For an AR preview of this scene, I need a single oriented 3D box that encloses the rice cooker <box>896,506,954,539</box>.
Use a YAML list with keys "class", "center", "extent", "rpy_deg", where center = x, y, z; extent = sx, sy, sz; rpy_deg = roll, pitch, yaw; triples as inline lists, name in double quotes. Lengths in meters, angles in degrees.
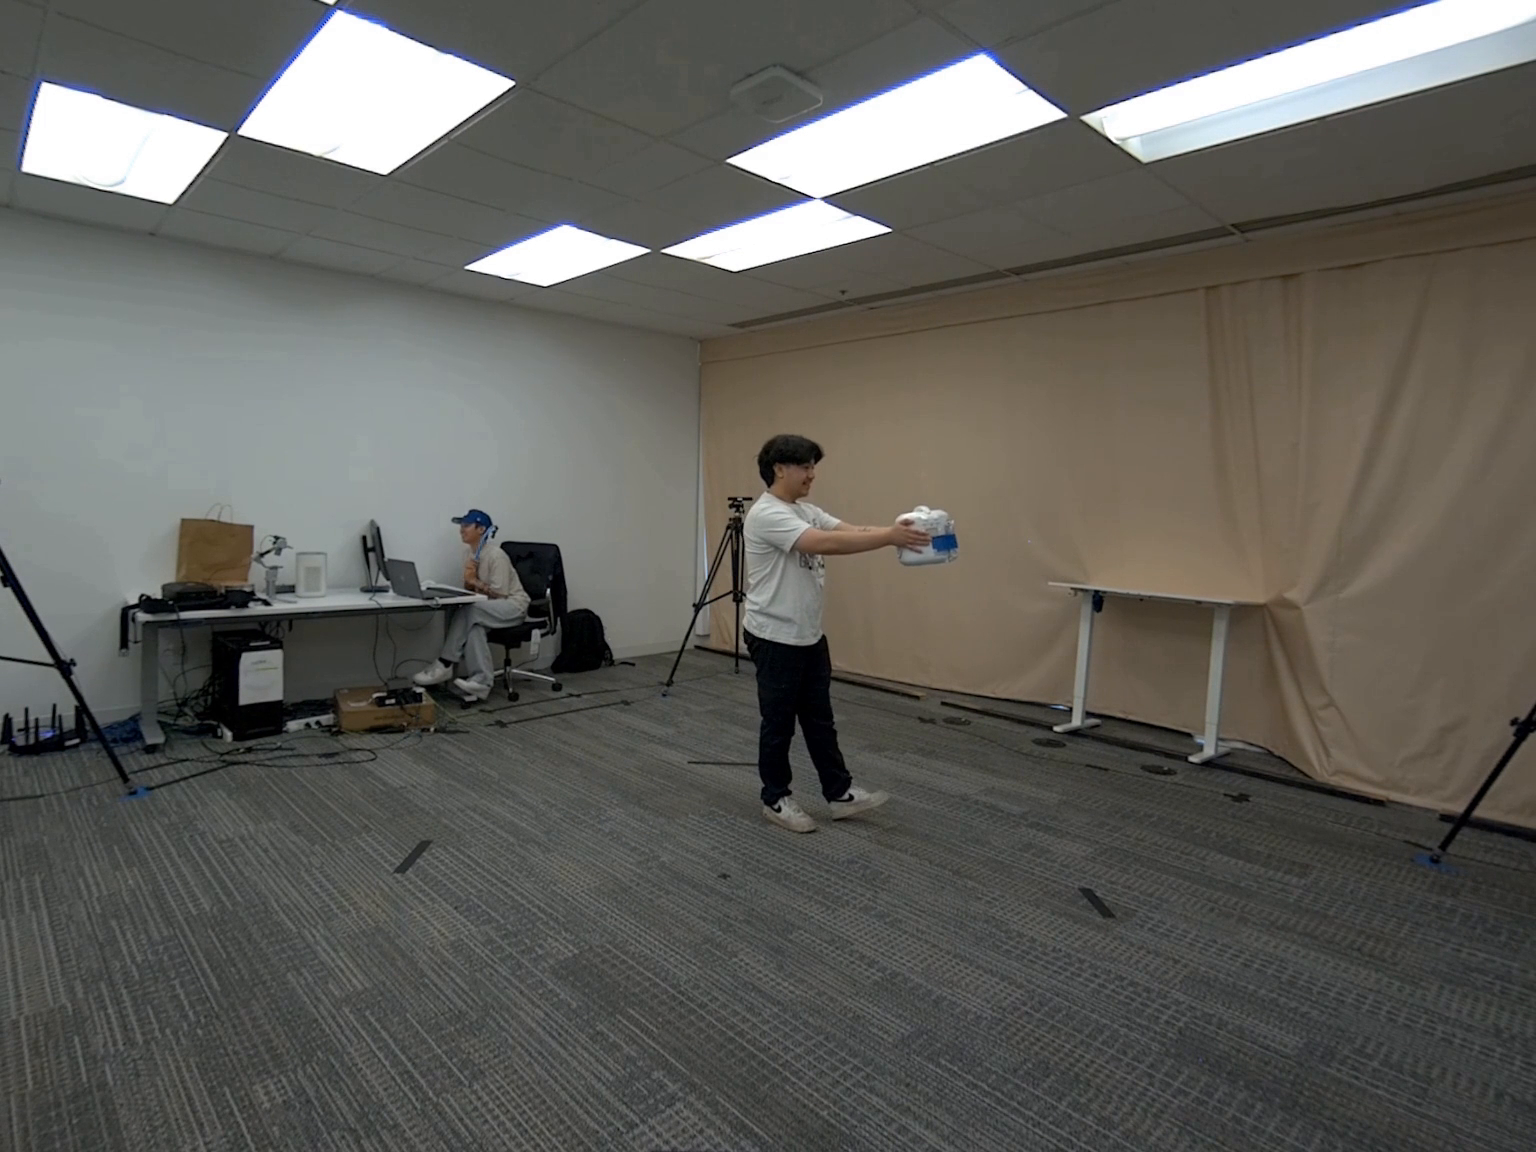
- class: "rice cooker"
  center: [0.607, -0.158, 3.308]
  extent: [0.217, 0.233, 0.221]
  rpy_deg: [-6, 0, -5]
